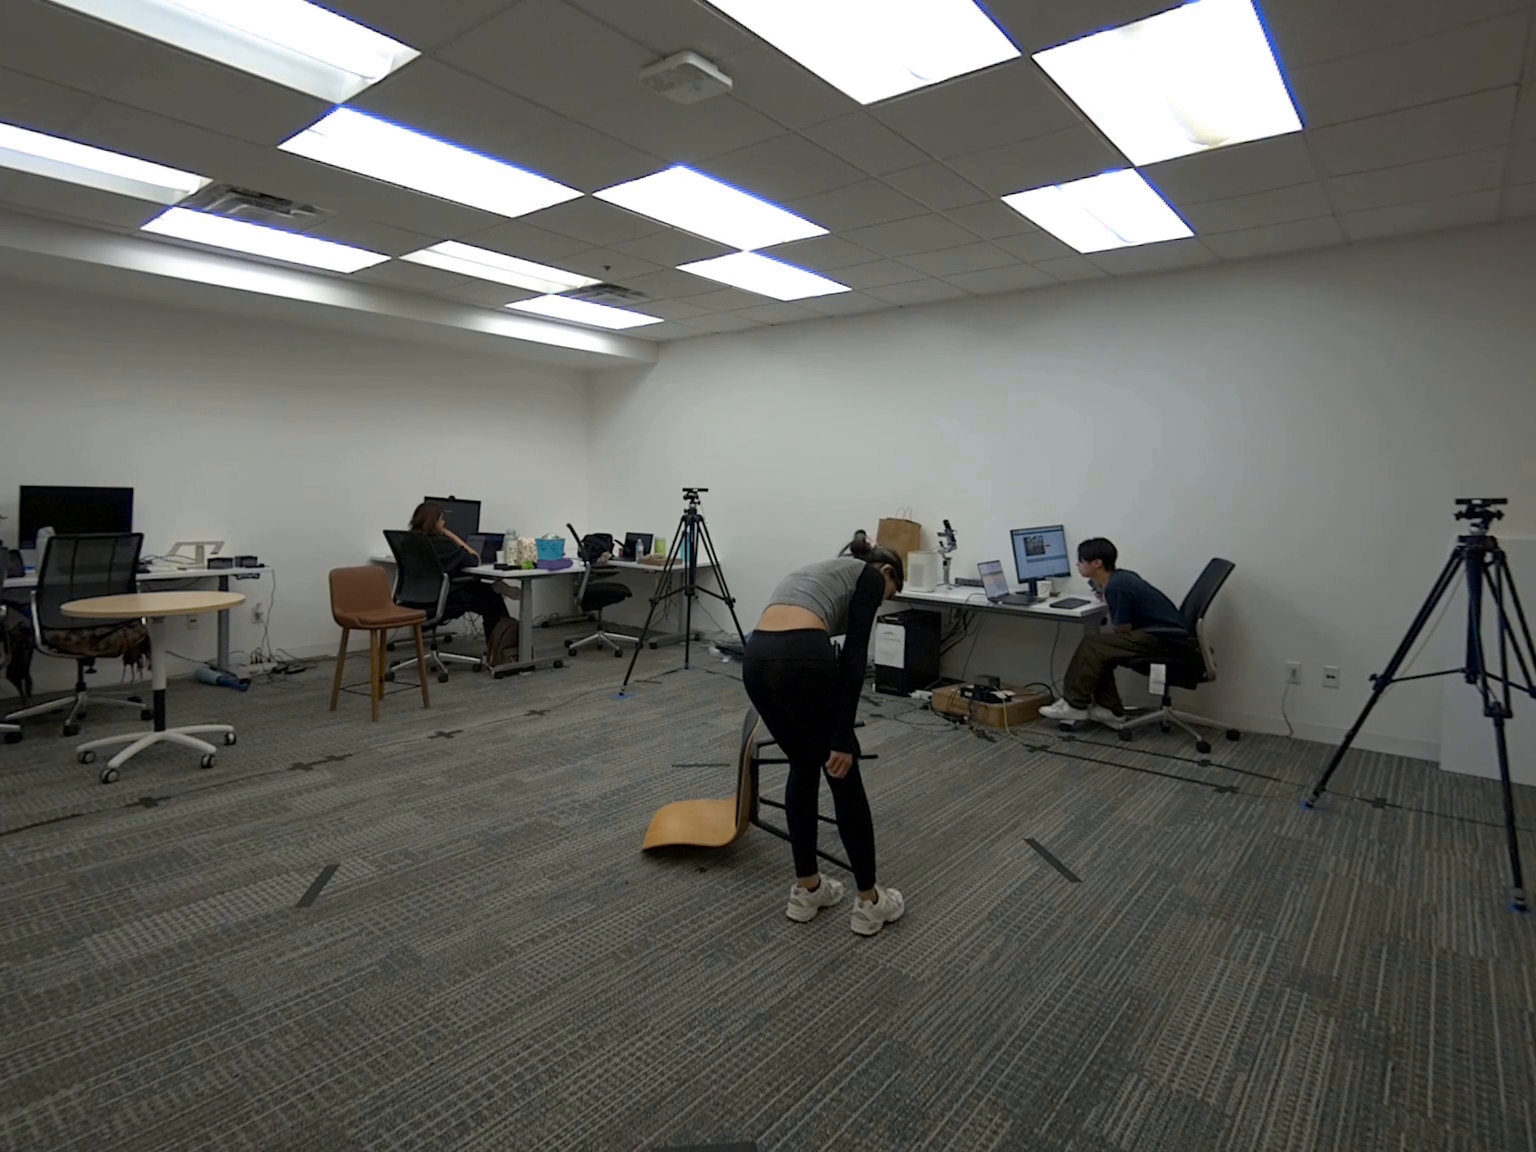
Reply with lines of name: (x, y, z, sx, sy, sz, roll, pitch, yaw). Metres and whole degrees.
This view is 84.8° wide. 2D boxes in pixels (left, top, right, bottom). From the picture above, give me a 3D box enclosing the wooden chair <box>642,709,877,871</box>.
wooden chair: (-0.062, 0.793, 3.307, 0.882, 0.521, 0.477, 1, 4, 4)
